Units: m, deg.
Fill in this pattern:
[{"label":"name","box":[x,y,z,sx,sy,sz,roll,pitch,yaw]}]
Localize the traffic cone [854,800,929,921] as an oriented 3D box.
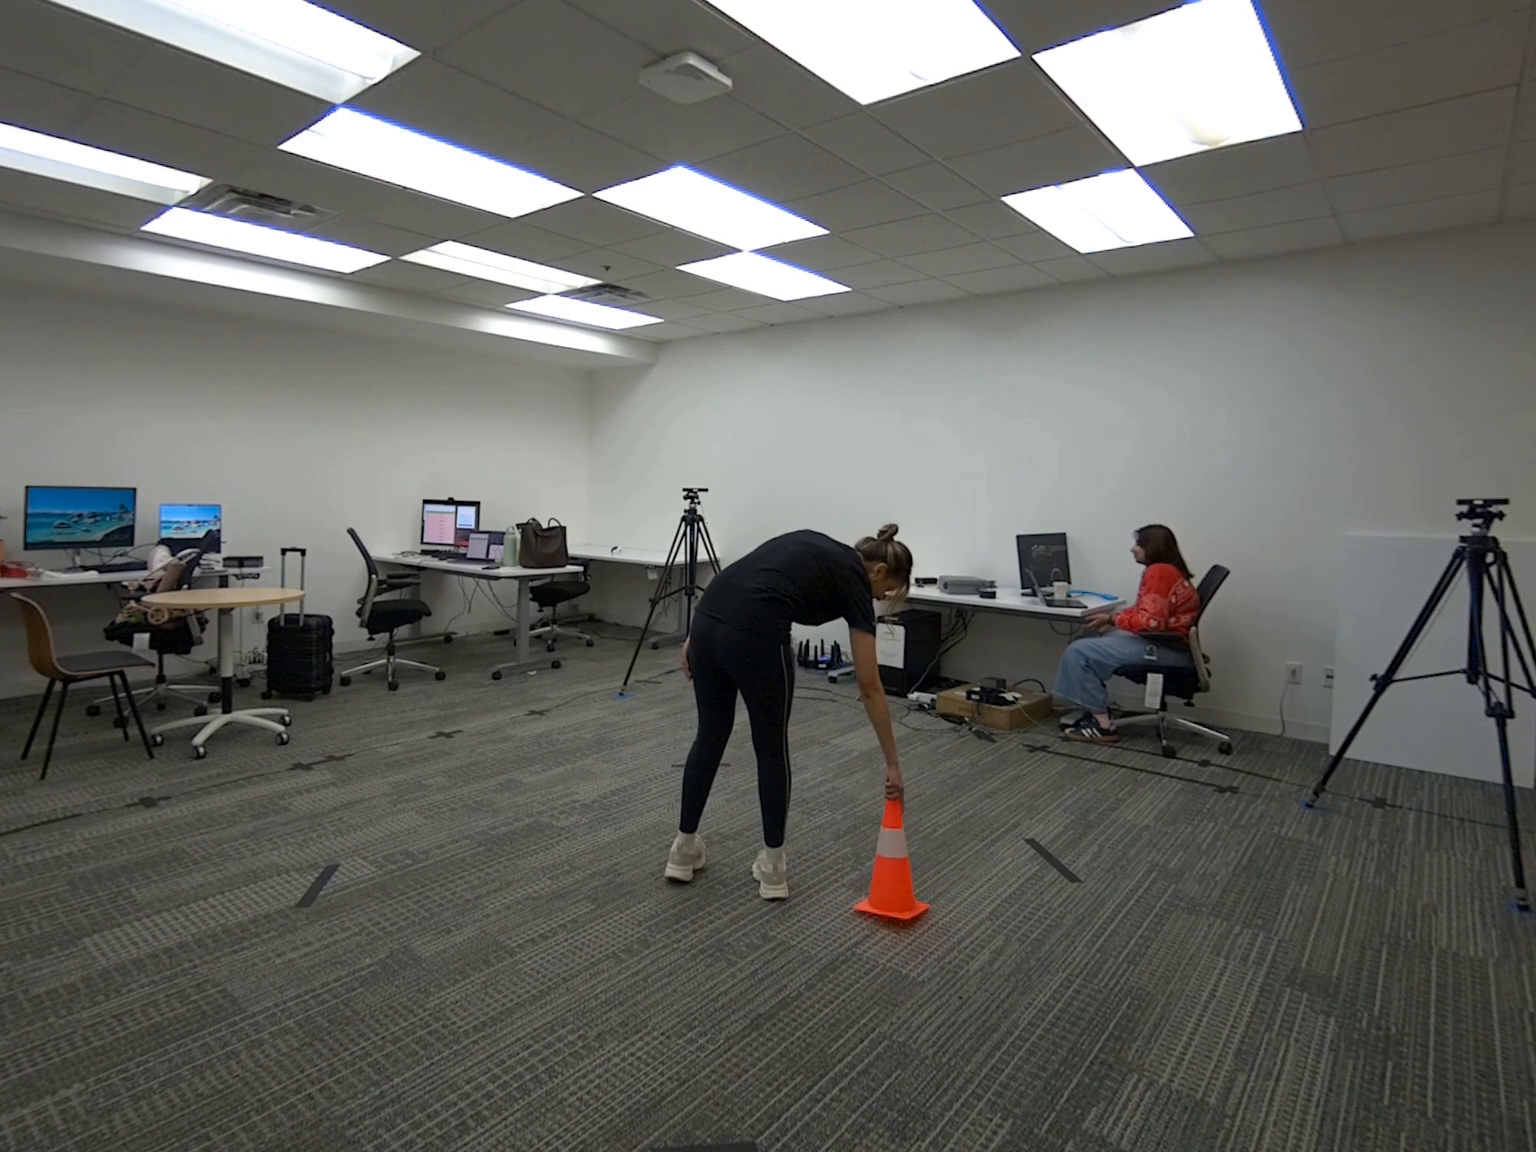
[{"label":"traffic cone","box":[0.408,0.910,2.860,0.210,0.386,0.196,-2,-8,30]}]
